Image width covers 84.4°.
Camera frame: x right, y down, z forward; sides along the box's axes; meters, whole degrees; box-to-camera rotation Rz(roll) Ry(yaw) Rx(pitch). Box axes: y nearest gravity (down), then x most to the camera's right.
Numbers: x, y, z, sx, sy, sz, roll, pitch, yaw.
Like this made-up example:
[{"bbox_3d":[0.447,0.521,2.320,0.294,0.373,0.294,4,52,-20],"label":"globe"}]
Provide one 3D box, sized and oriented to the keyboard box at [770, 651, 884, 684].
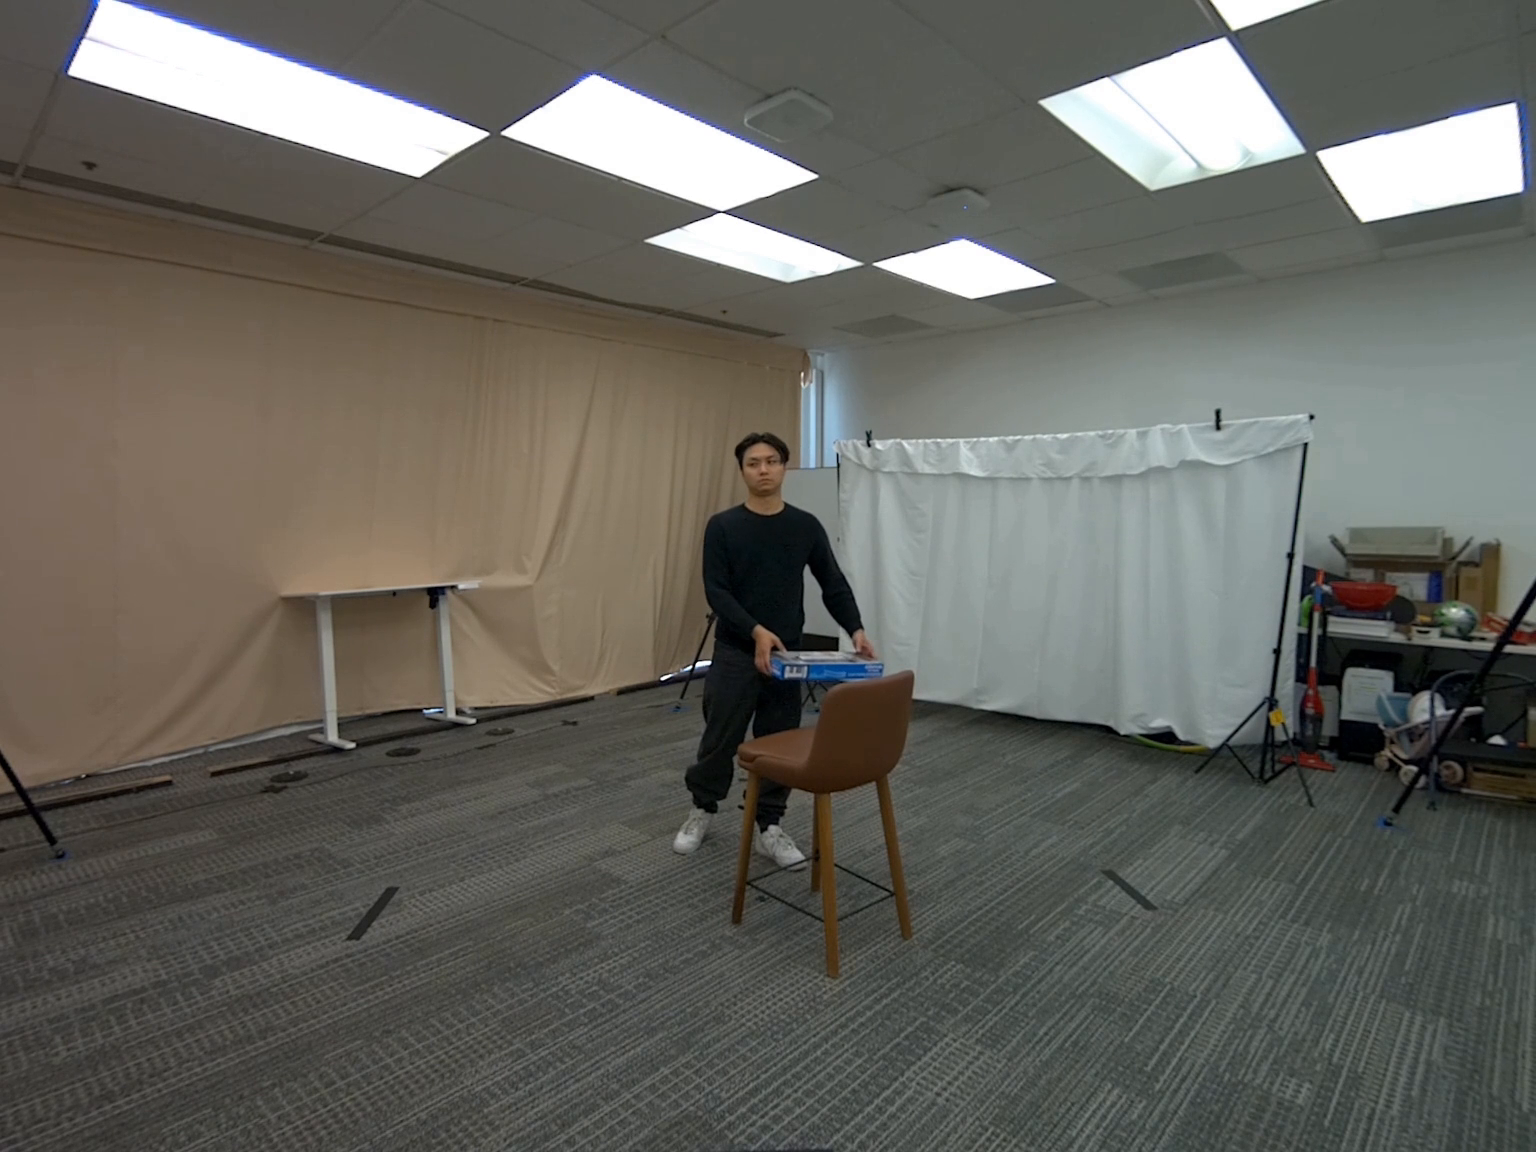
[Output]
[{"bbox_3d":[0.196,0.328,3.101,0.425,0.059,0.181,3,7,-28],"label":"keyboard box"}]
